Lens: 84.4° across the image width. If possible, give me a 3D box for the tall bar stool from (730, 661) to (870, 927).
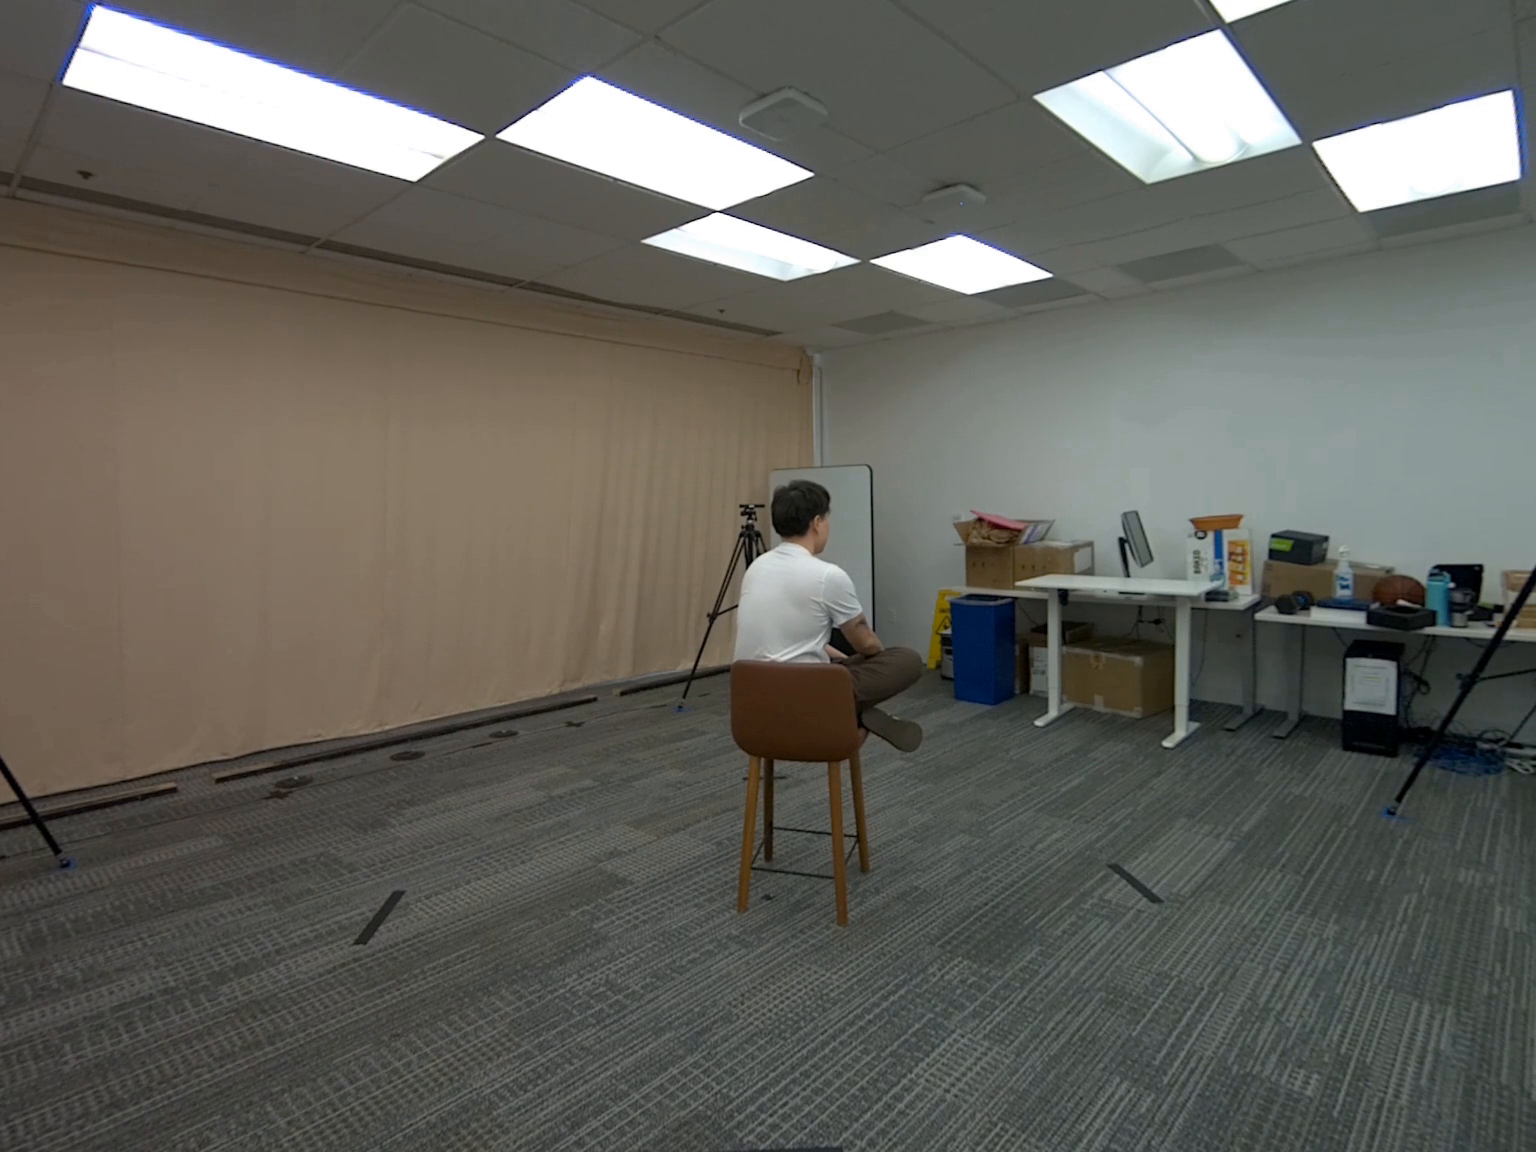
[{"bbox_3d":[0.126,0.705,3.004,0.466,0.886,0.460,0,6,18],"label":"tall bar stool"}]
